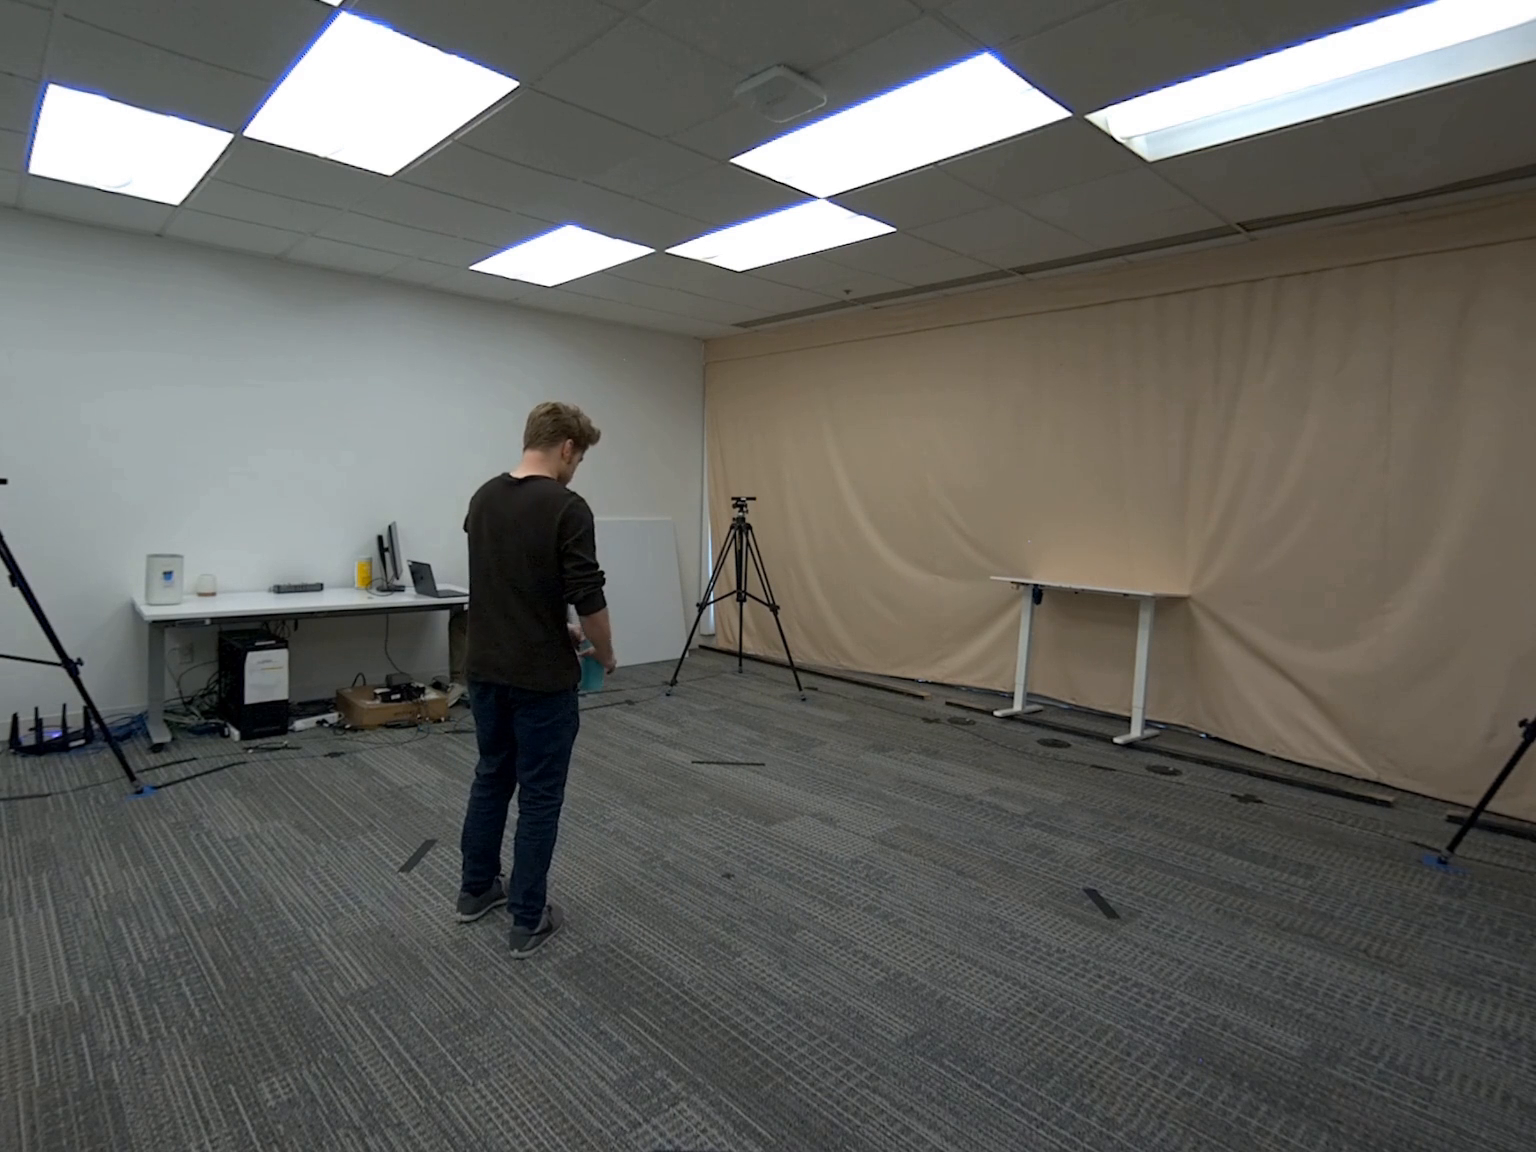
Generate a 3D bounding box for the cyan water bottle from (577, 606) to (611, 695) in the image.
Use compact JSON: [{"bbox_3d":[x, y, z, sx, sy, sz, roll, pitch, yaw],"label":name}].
[{"bbox_3d":[-0.590,0.241,2.825,0.092,0.284,0.092,4,-3,-1],"label":"cyan water bottle"}]
